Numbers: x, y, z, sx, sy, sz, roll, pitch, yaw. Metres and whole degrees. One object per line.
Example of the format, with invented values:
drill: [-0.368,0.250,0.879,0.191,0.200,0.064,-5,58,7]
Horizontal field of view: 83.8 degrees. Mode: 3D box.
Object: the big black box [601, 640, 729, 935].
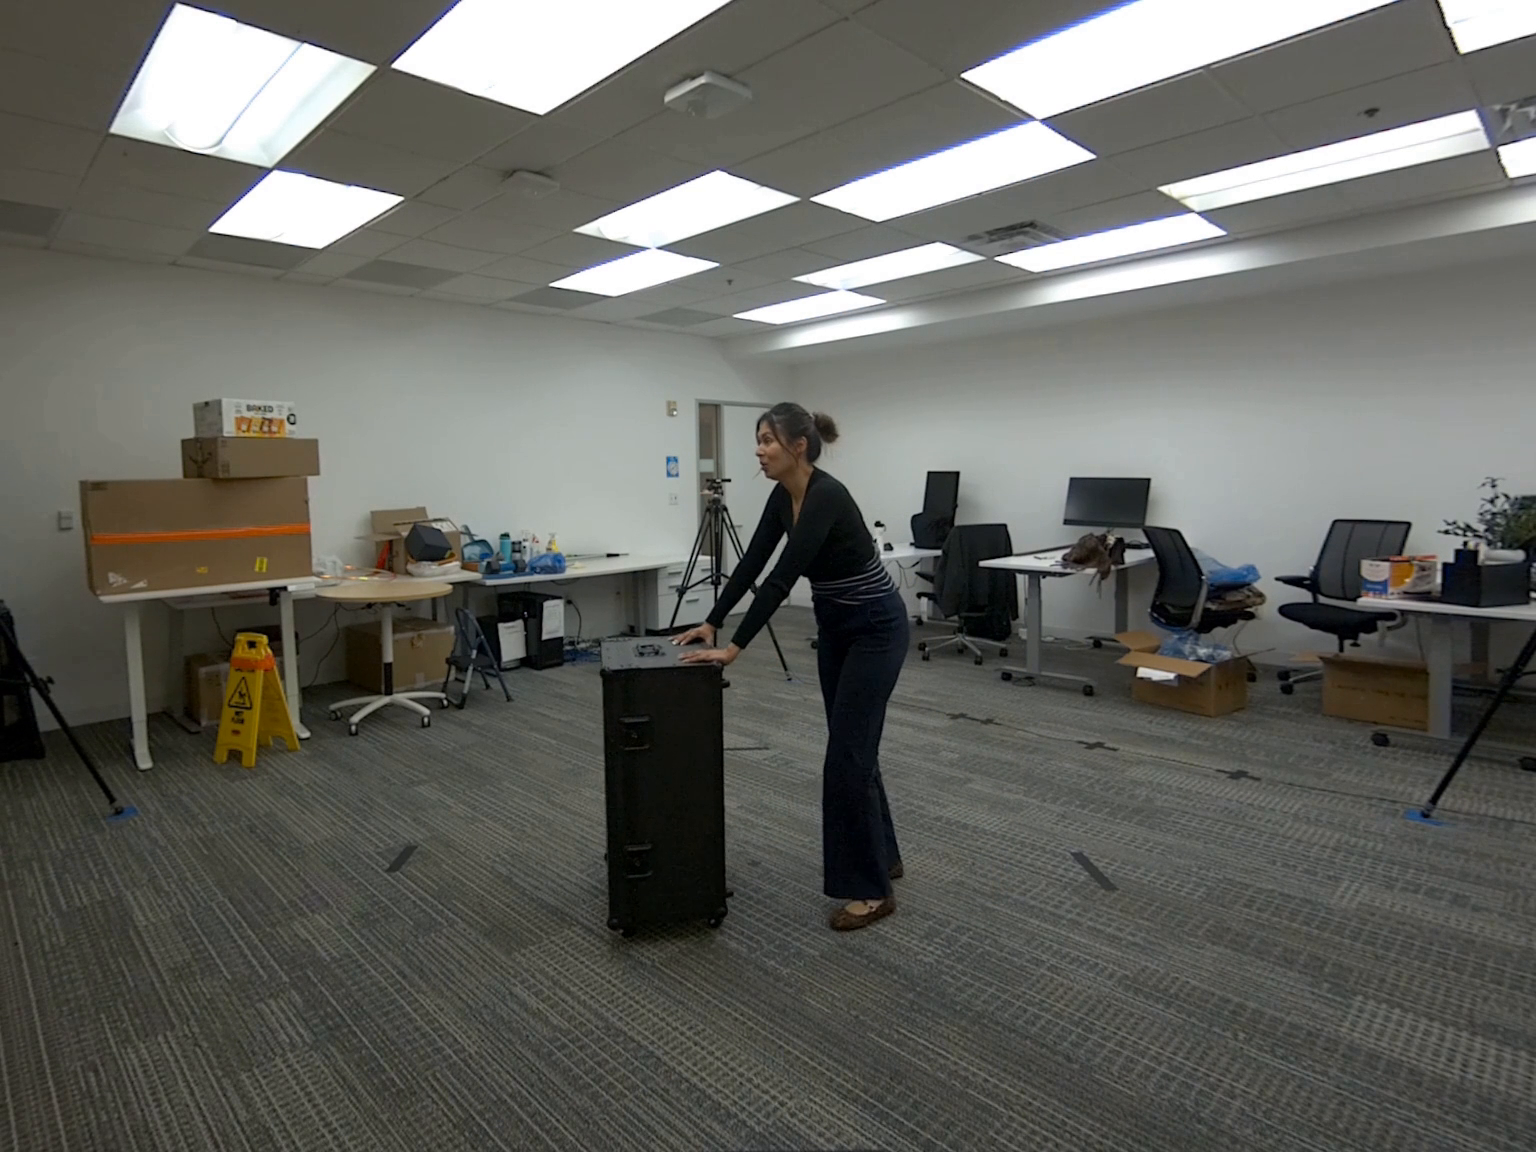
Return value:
big black box: [-0.333,0.658,2.778,0.393,0.859,0.528,-1,3,-11]
